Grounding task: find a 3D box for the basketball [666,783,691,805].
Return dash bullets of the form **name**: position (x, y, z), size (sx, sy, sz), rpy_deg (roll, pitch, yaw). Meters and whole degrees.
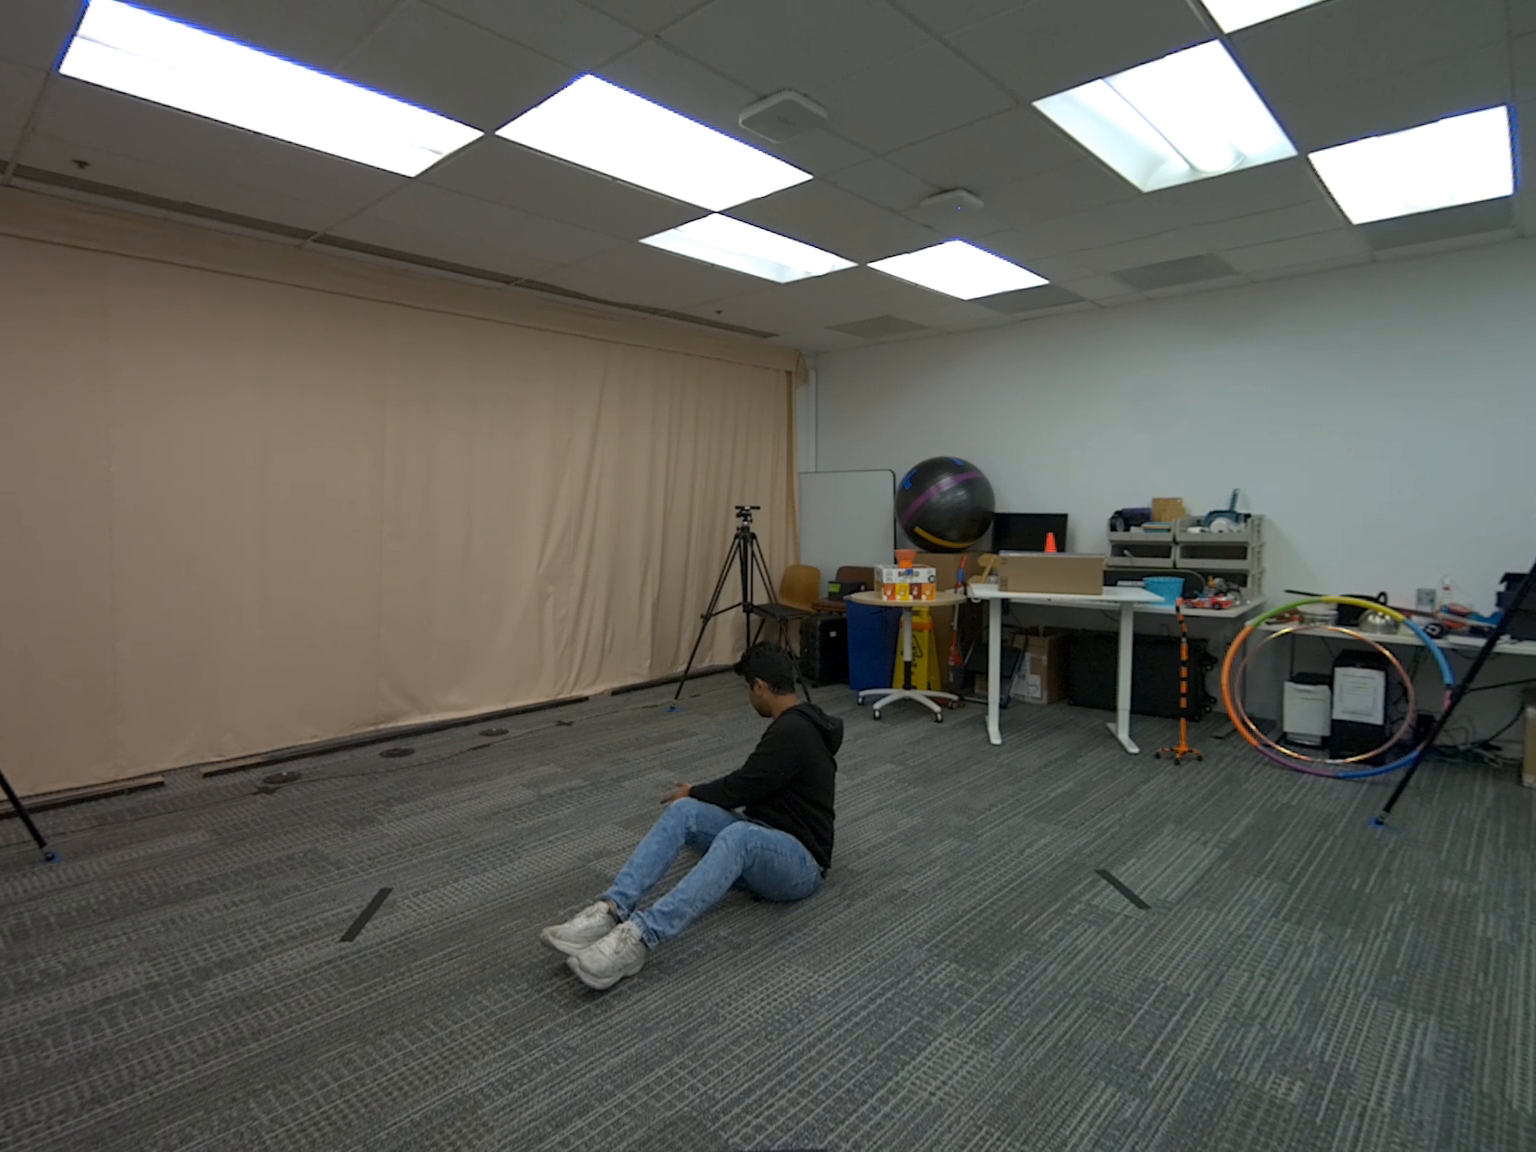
- **basketball**: position (-0.257, 0.992, 3.450), size (0.236, 0.235, 0.237), rpy_deg (0, 4, -2)
